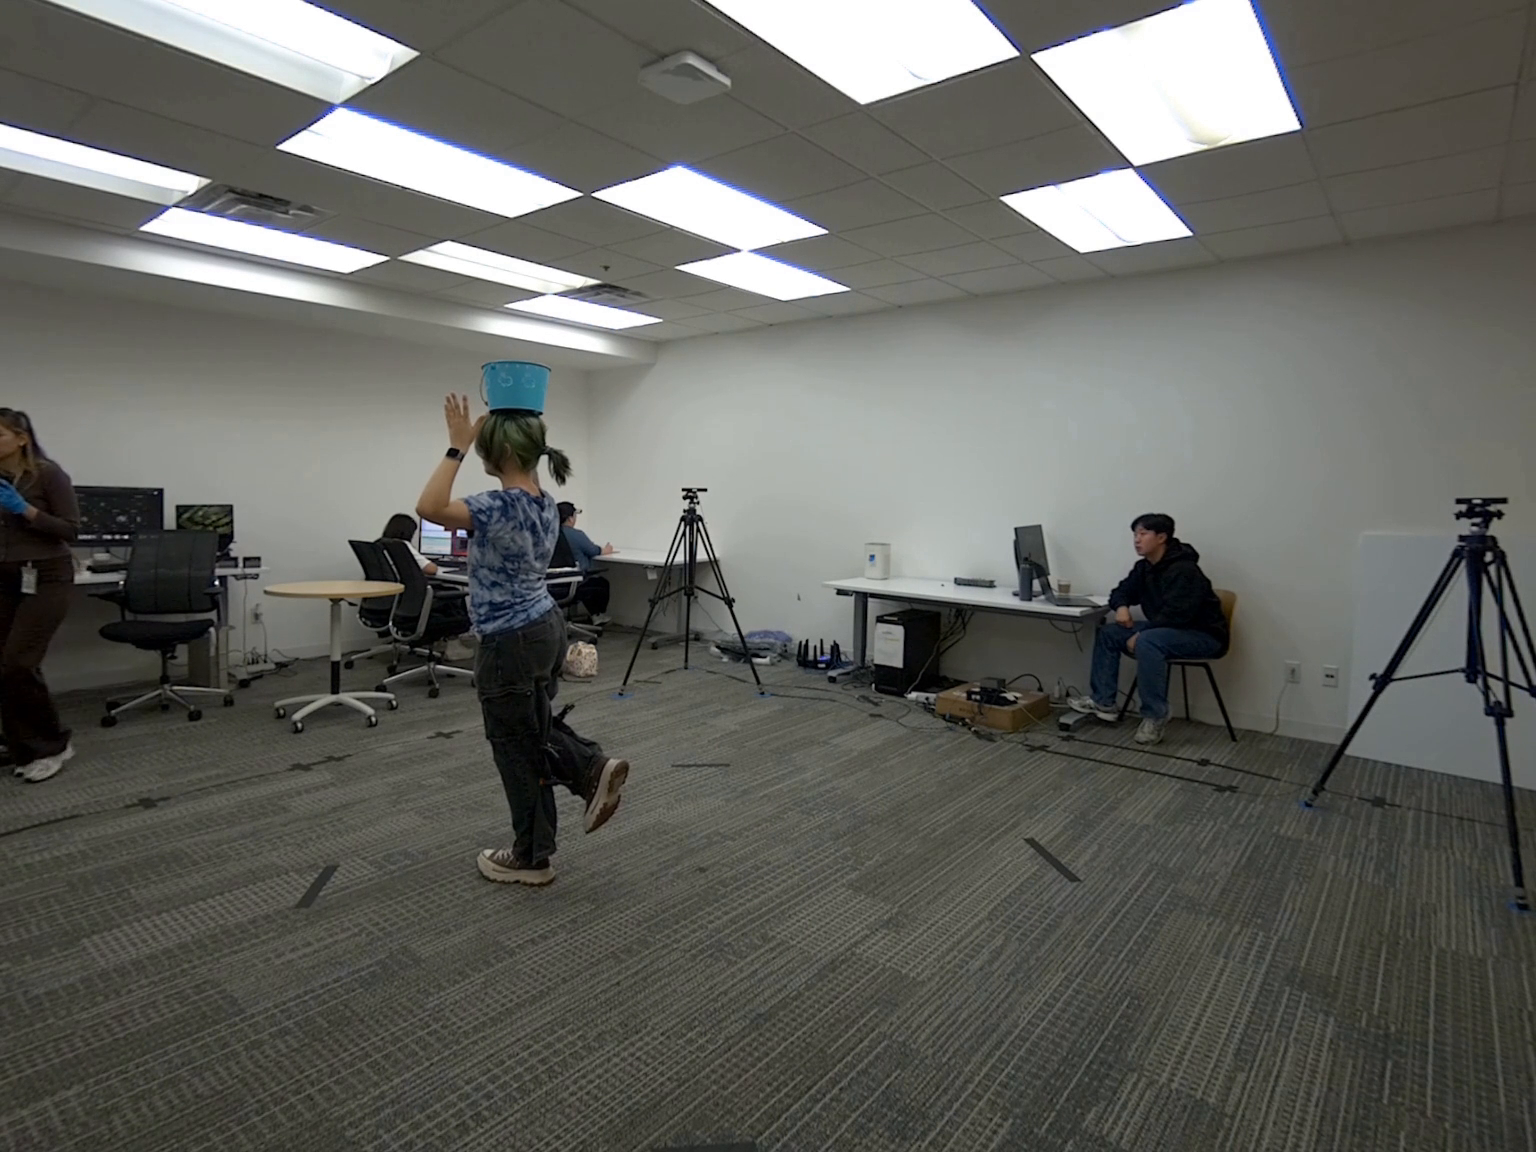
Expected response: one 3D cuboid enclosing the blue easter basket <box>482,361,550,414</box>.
[{"bbox_3d":[-0.866,-0.629,2.882,0.243,0.156,0.244,0,2,-2],"label":"blue easter basket"}]
